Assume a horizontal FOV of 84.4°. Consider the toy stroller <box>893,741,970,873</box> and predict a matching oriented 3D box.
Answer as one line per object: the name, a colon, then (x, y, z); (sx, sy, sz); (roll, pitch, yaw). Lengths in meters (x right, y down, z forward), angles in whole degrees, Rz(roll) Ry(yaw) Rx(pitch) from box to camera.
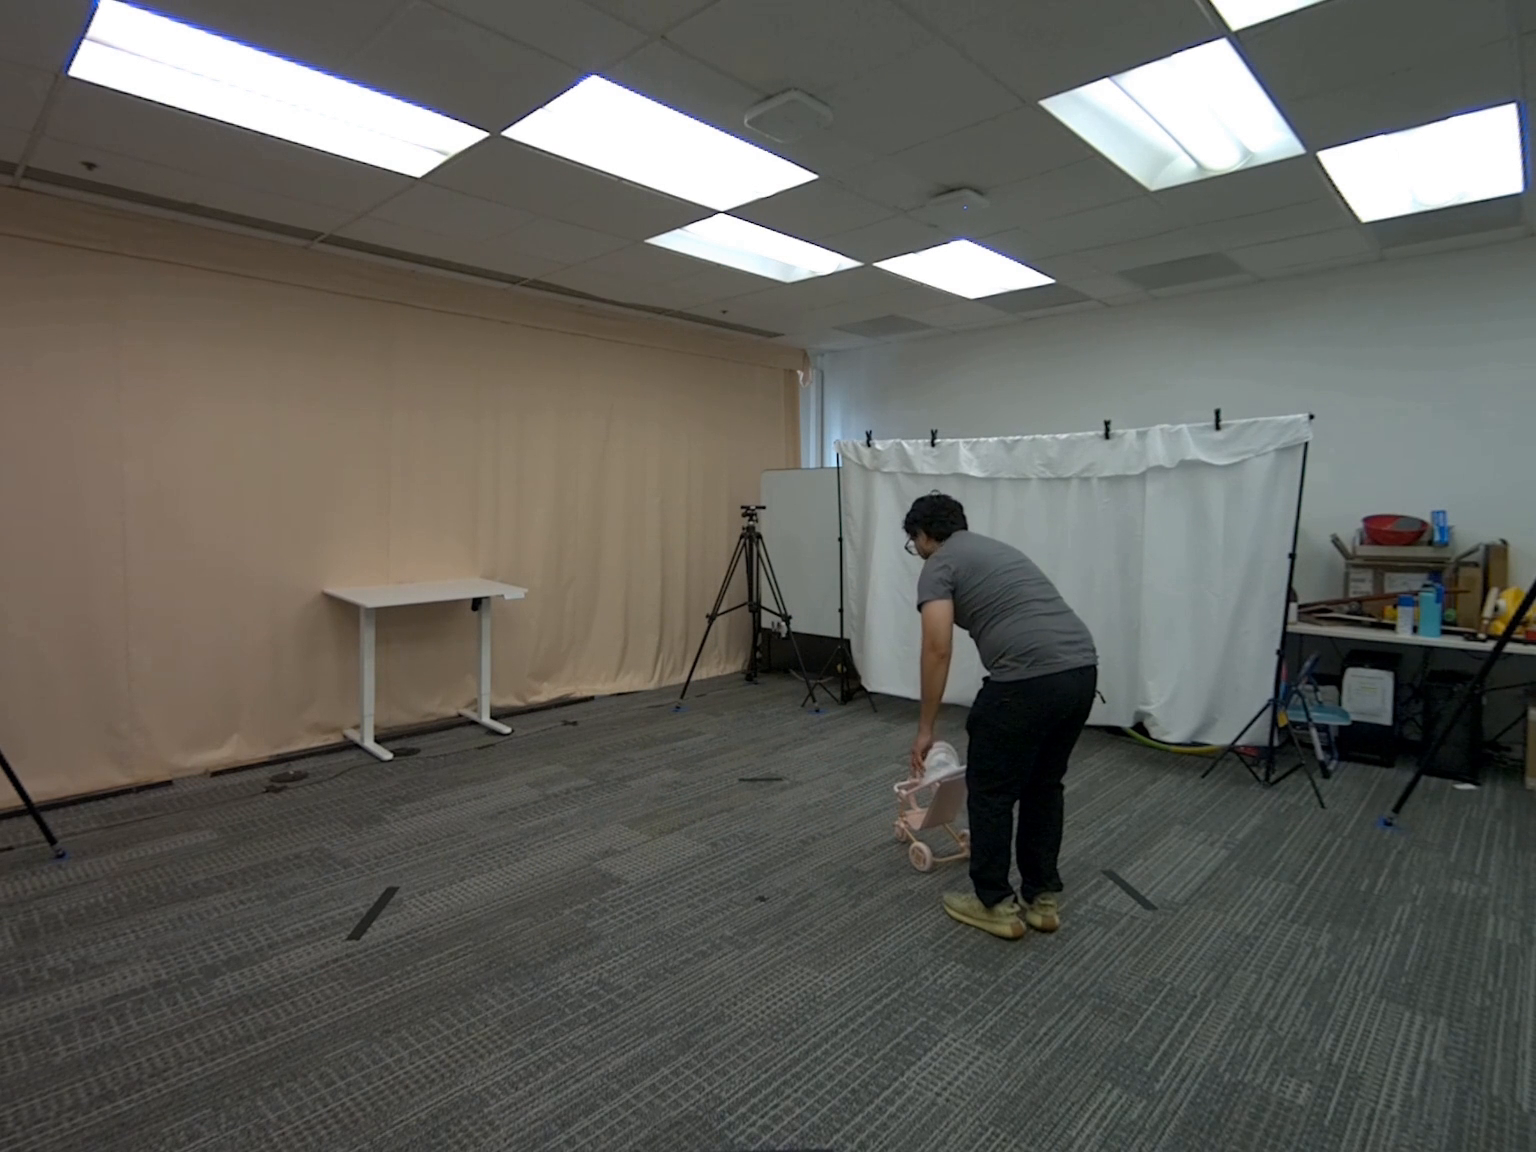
toy stroller: (0.659, 0.888, 3.317); (0.274, 0.531, 0.353); (-2, 19, -28)
